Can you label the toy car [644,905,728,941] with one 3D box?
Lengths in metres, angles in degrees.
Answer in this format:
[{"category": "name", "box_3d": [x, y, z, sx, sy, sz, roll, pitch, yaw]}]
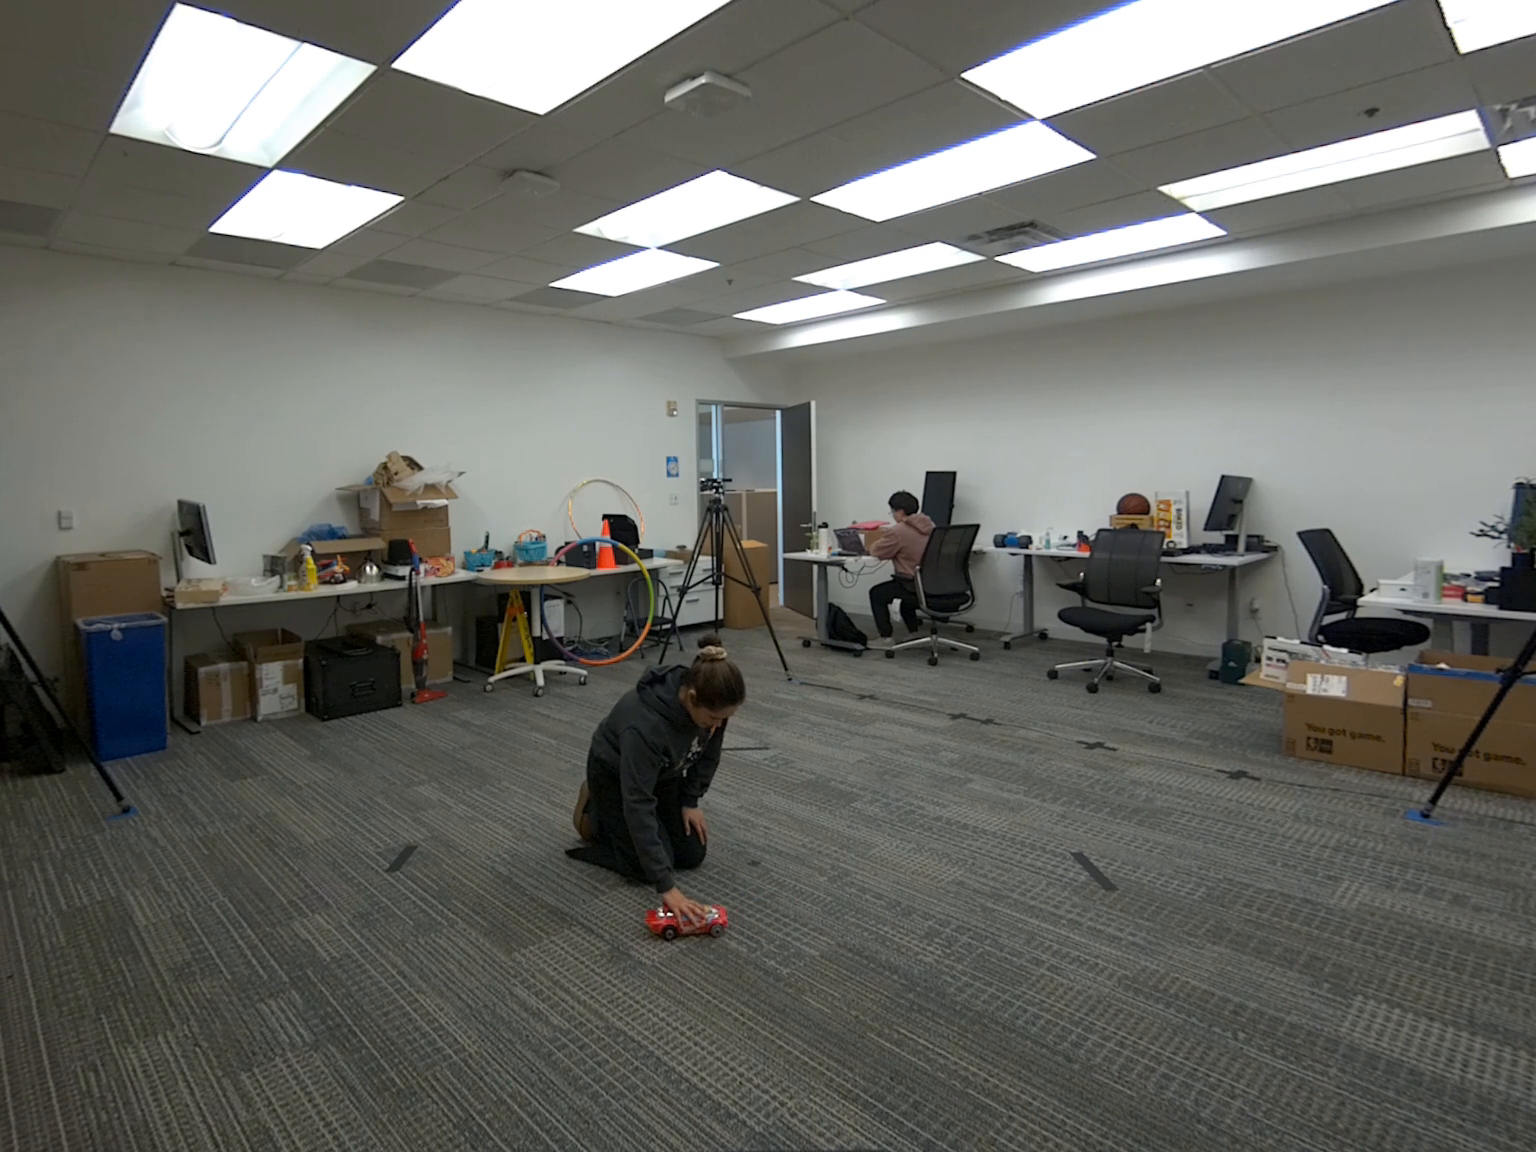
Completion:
[{"category": "toy car", "box_3d": [-0.258, 1.072, 2.640, 0.253, 0.083, 0.131, 8, 5, -6]}]
